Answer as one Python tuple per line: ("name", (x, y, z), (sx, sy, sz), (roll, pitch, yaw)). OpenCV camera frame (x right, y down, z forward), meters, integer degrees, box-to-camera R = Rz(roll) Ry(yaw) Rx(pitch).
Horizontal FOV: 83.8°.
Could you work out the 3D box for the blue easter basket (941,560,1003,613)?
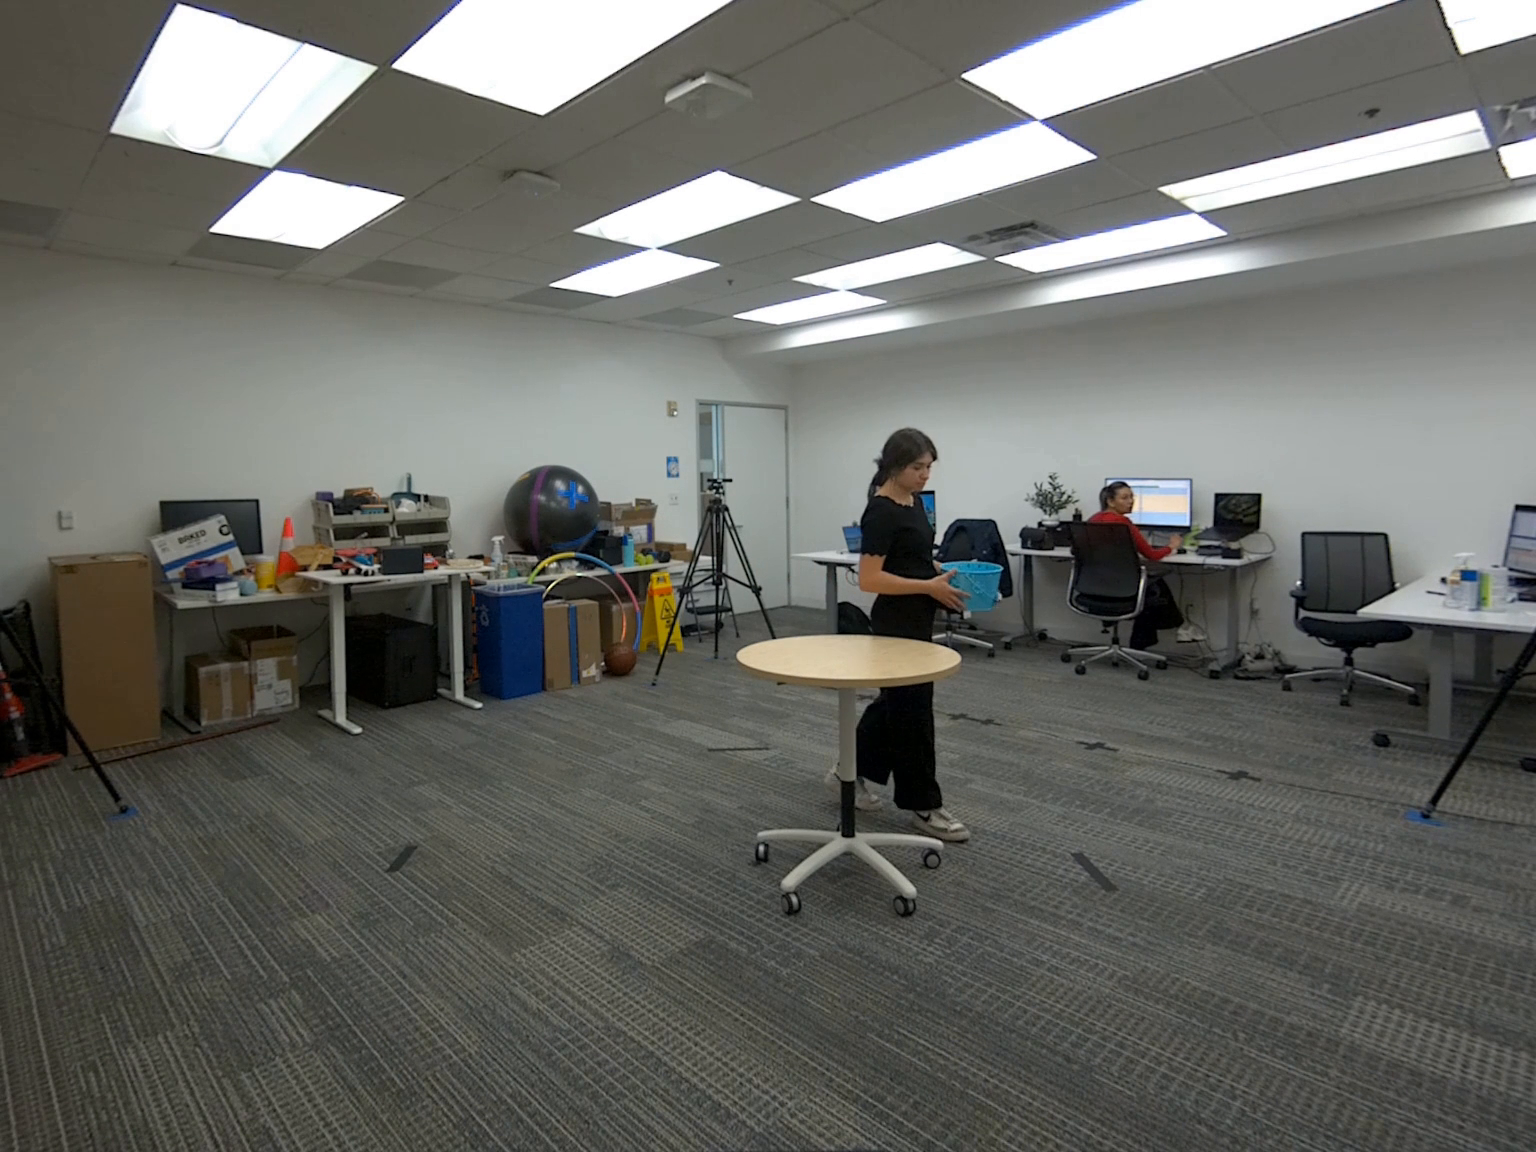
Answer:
("blue easter basket", (0.769, 0.046, 3.290), (0.243, 0.155, 0.245), (-2, 8, -1))
